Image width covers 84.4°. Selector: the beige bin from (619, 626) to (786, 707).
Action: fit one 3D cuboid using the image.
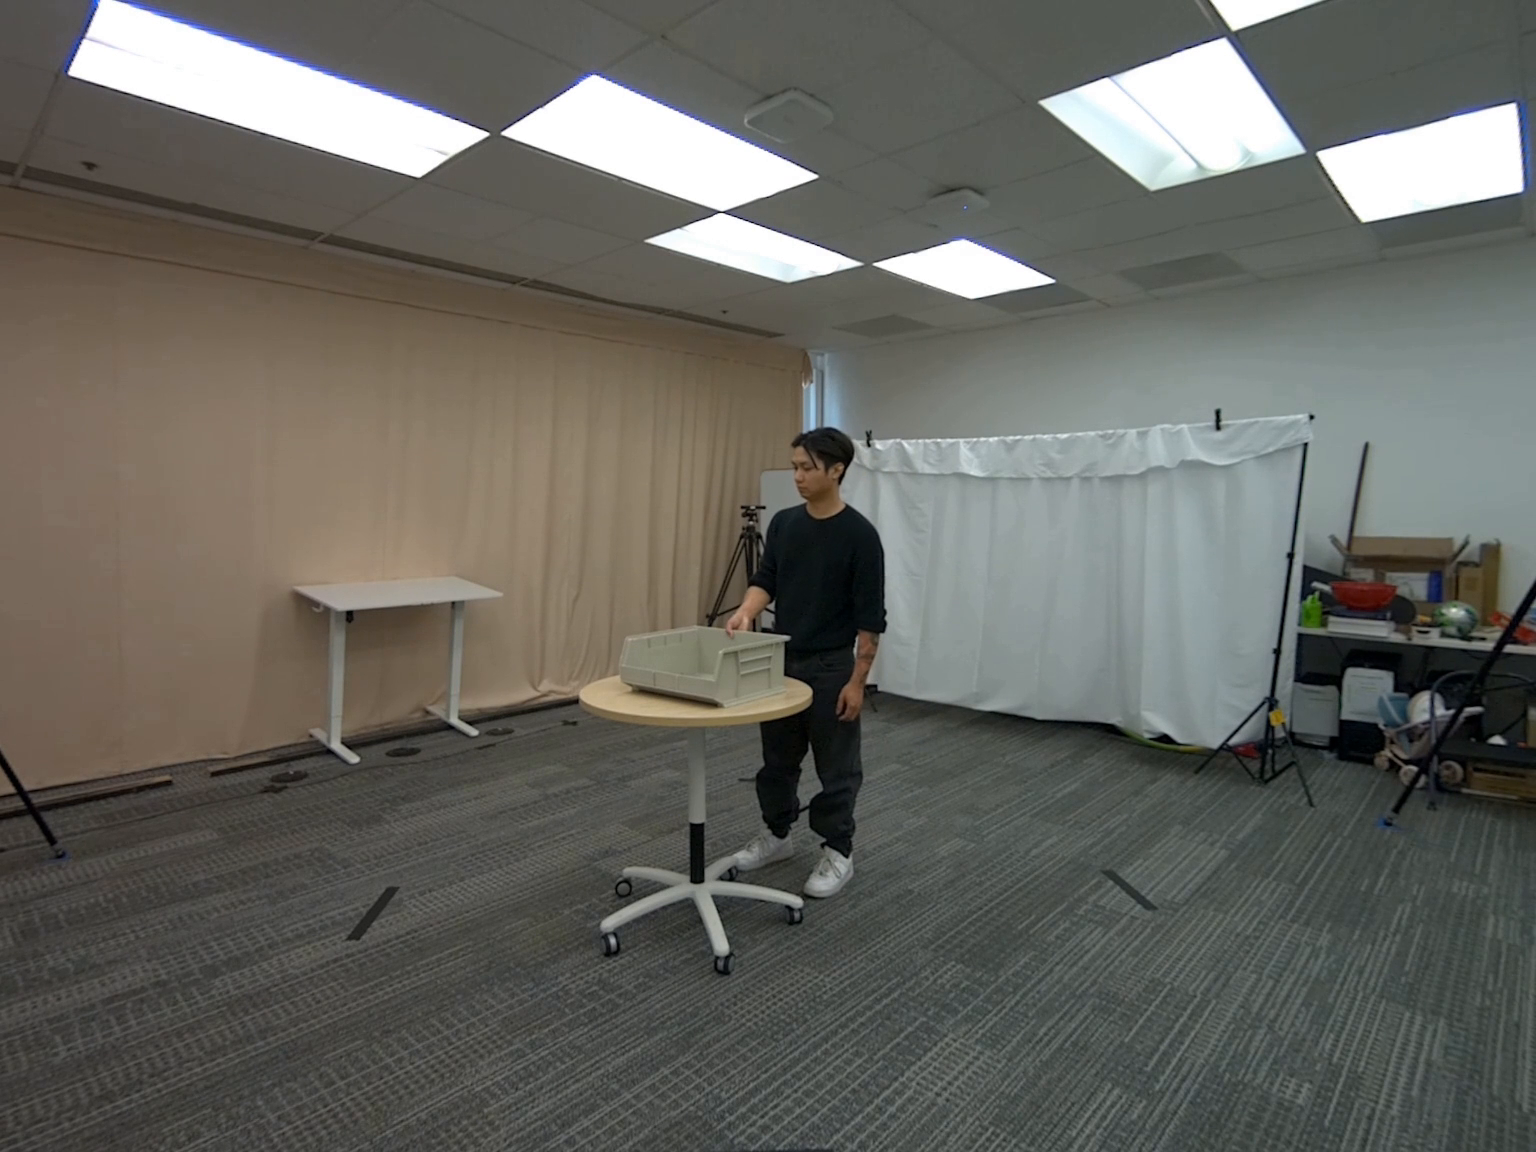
[{"bbox_3d":[-0.203,0.290,2.753,0.436,0.188,0.366,3,4,39],"label":"beige bin"}]
